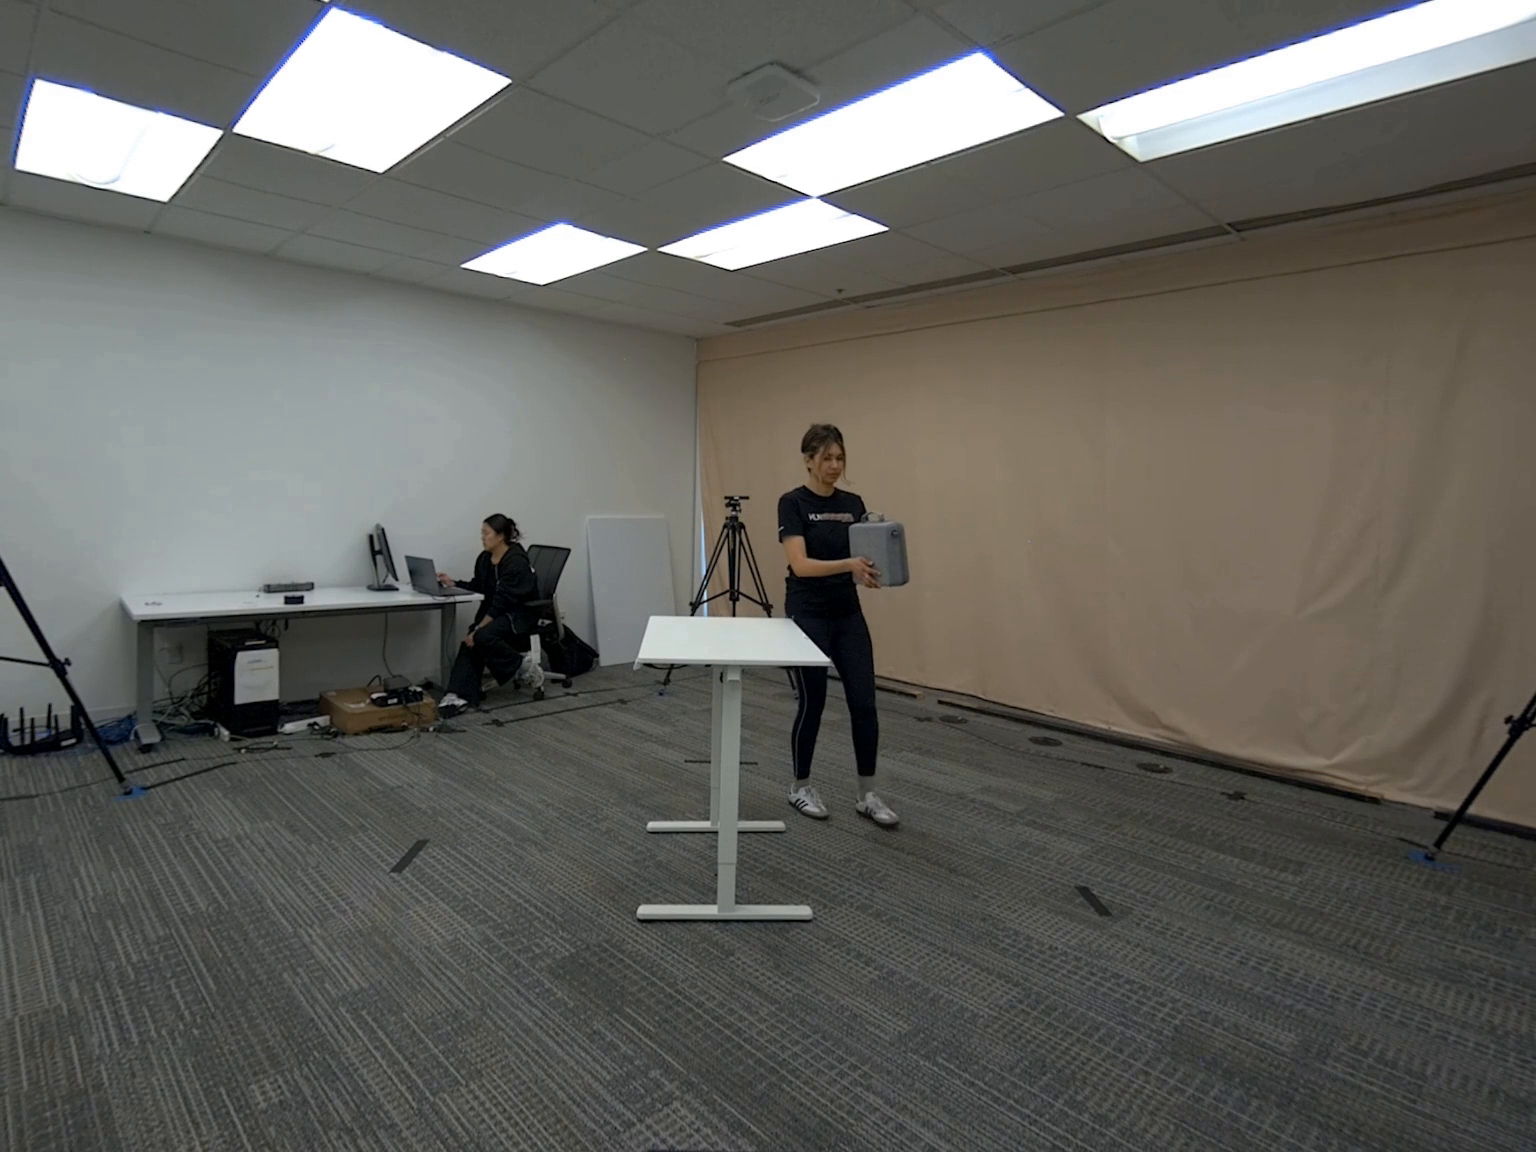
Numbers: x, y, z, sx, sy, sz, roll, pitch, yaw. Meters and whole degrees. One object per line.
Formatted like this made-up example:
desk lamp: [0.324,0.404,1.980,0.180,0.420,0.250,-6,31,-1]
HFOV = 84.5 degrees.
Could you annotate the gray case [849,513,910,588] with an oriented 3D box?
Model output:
gray case: [0.430,-0.092,3.331,0.102,0.260,0.262,-7,4,-28]
